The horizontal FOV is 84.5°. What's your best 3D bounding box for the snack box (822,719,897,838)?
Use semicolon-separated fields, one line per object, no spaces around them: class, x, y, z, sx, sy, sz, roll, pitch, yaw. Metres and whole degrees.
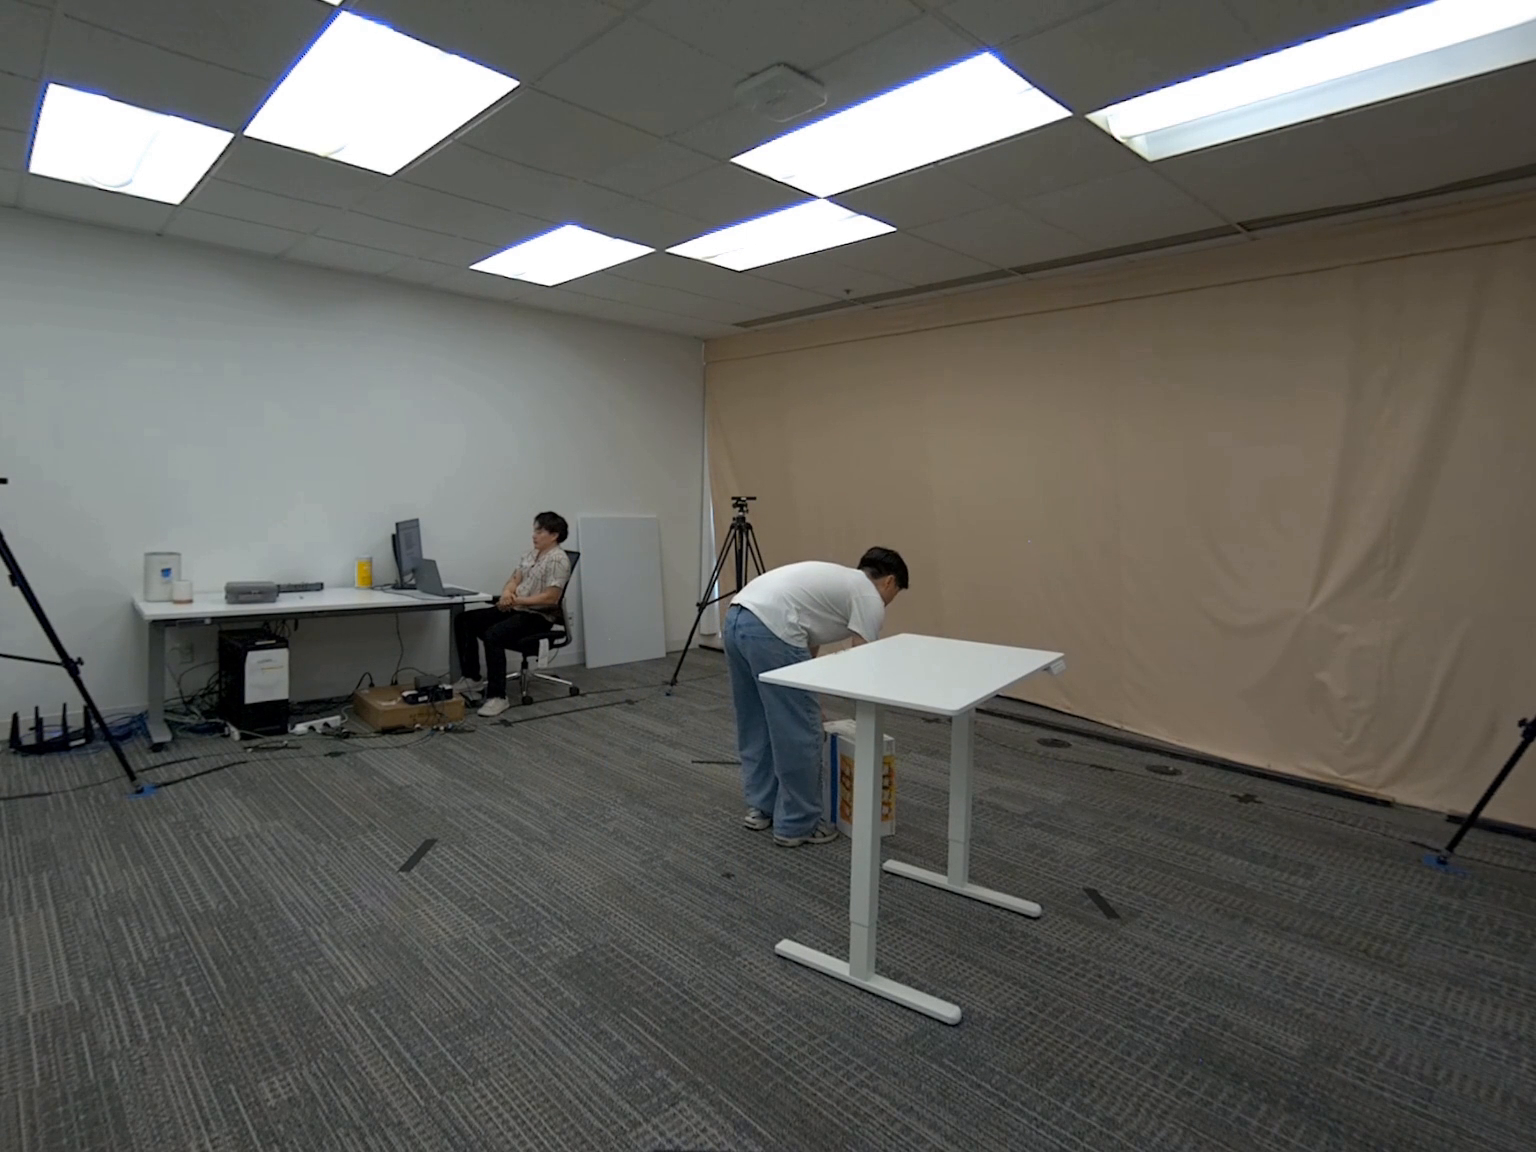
snack box;0.362;0.868;3.640;0.202;0.404;0.347;-1;4;-26
